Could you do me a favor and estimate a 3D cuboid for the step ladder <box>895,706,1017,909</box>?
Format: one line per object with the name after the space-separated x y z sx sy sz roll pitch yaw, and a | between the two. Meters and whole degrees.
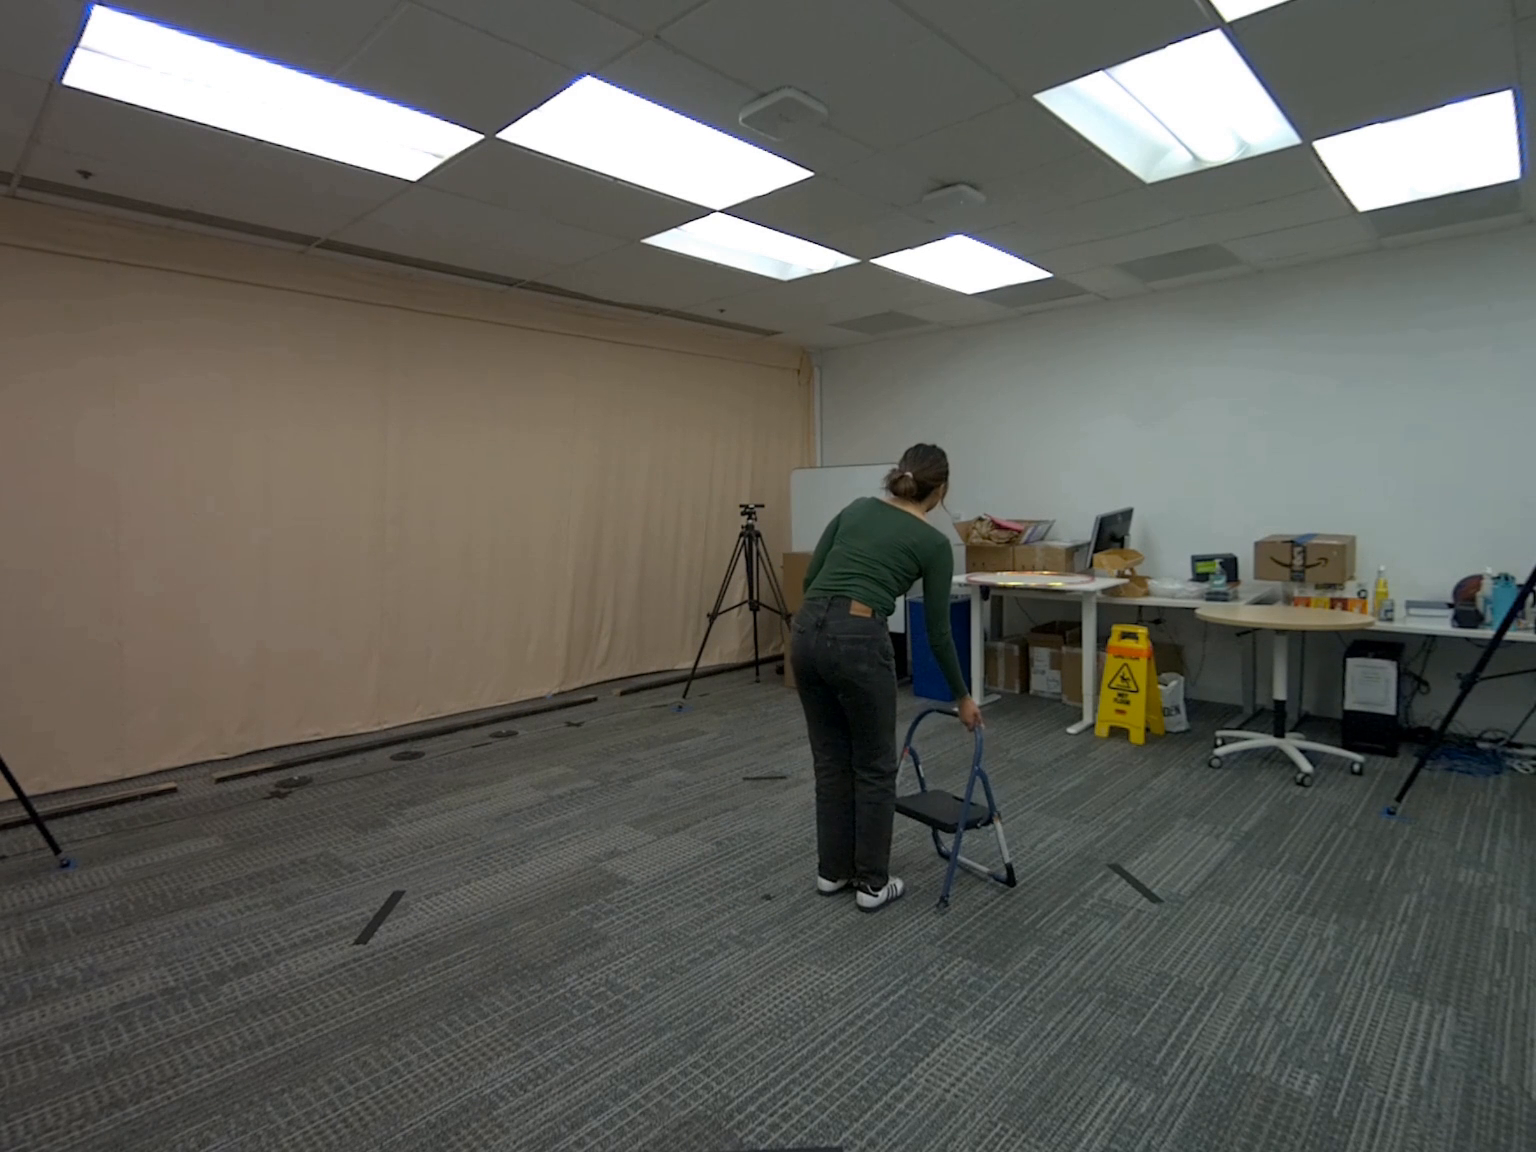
0.631 0.800 3.086 0.340 0.606 0.441 -3 0 -28 | step ladder
